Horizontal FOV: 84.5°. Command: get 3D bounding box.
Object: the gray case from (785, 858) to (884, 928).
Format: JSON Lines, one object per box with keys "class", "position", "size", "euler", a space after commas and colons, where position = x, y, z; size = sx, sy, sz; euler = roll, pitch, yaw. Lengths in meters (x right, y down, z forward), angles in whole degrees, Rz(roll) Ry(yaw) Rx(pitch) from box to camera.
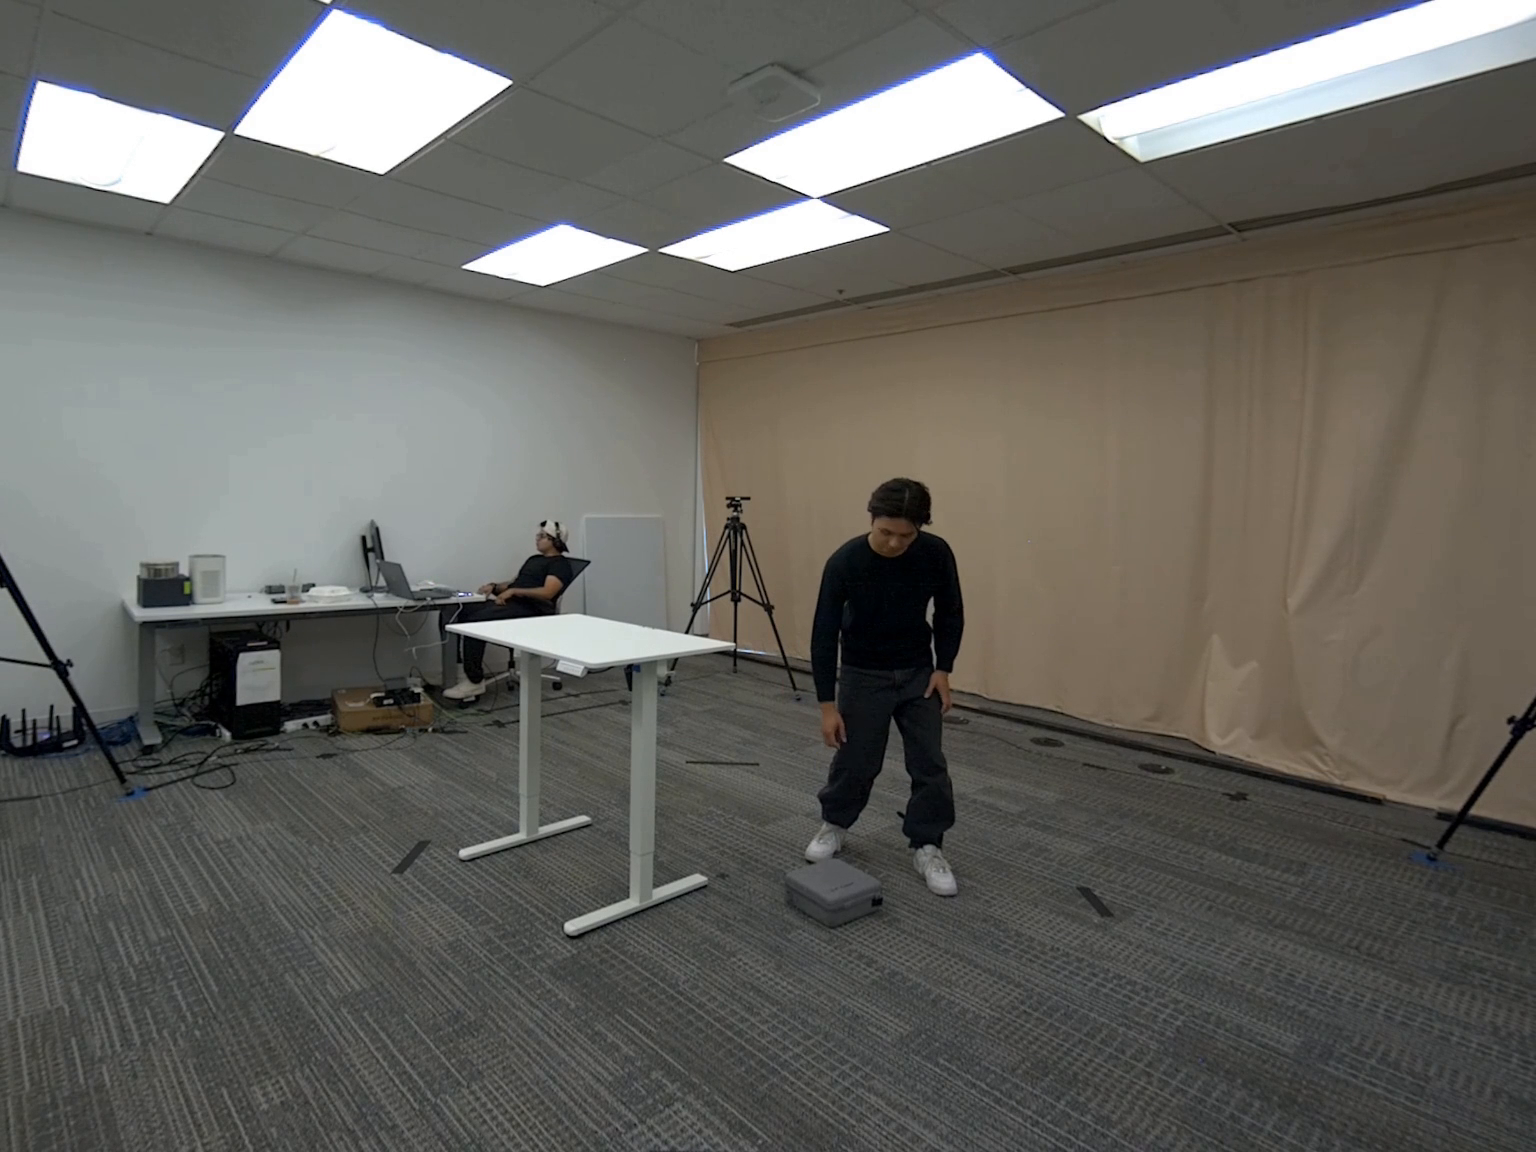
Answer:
{"class": "gray case", "position": [0.212, 1.074, 2.889], "size": [0.251, 0.104, 0.267], "euler": [-4, 7, -38]}
